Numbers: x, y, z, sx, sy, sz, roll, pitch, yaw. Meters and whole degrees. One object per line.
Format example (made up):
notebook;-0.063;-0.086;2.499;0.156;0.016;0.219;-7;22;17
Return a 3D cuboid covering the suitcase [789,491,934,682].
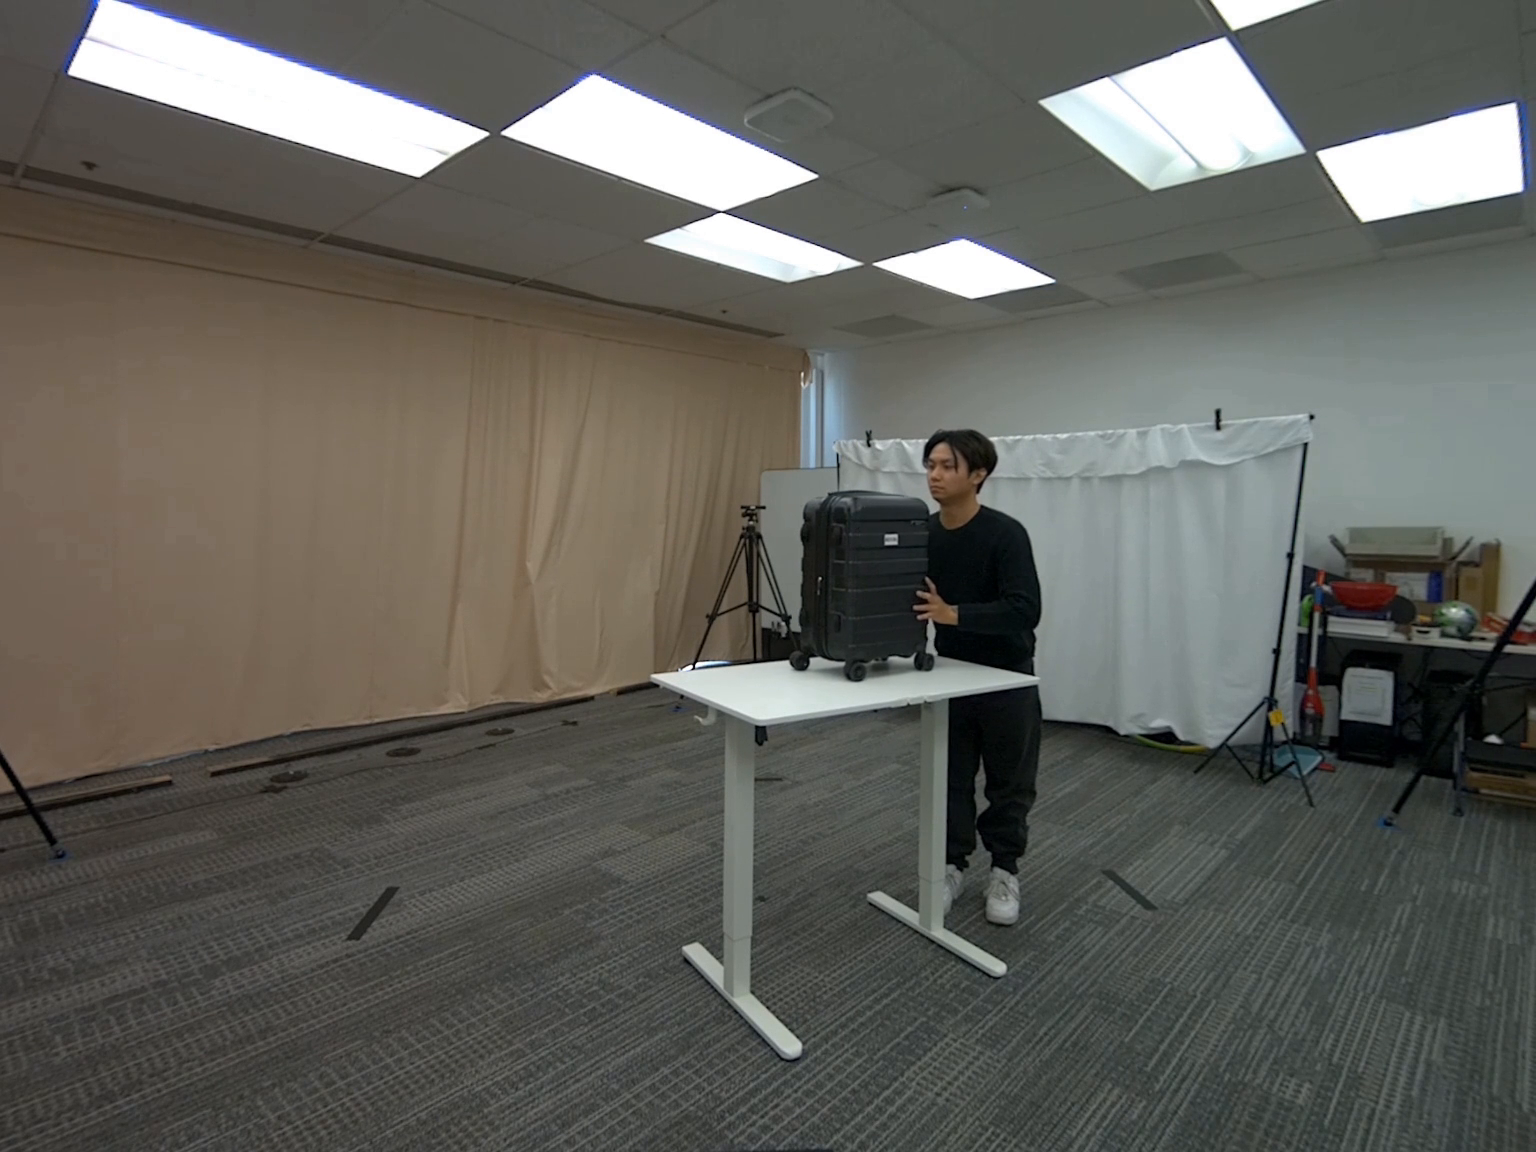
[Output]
suitcase;0.297;0.016;2.589;0.364;0.548;0.256;-1;4;-35
